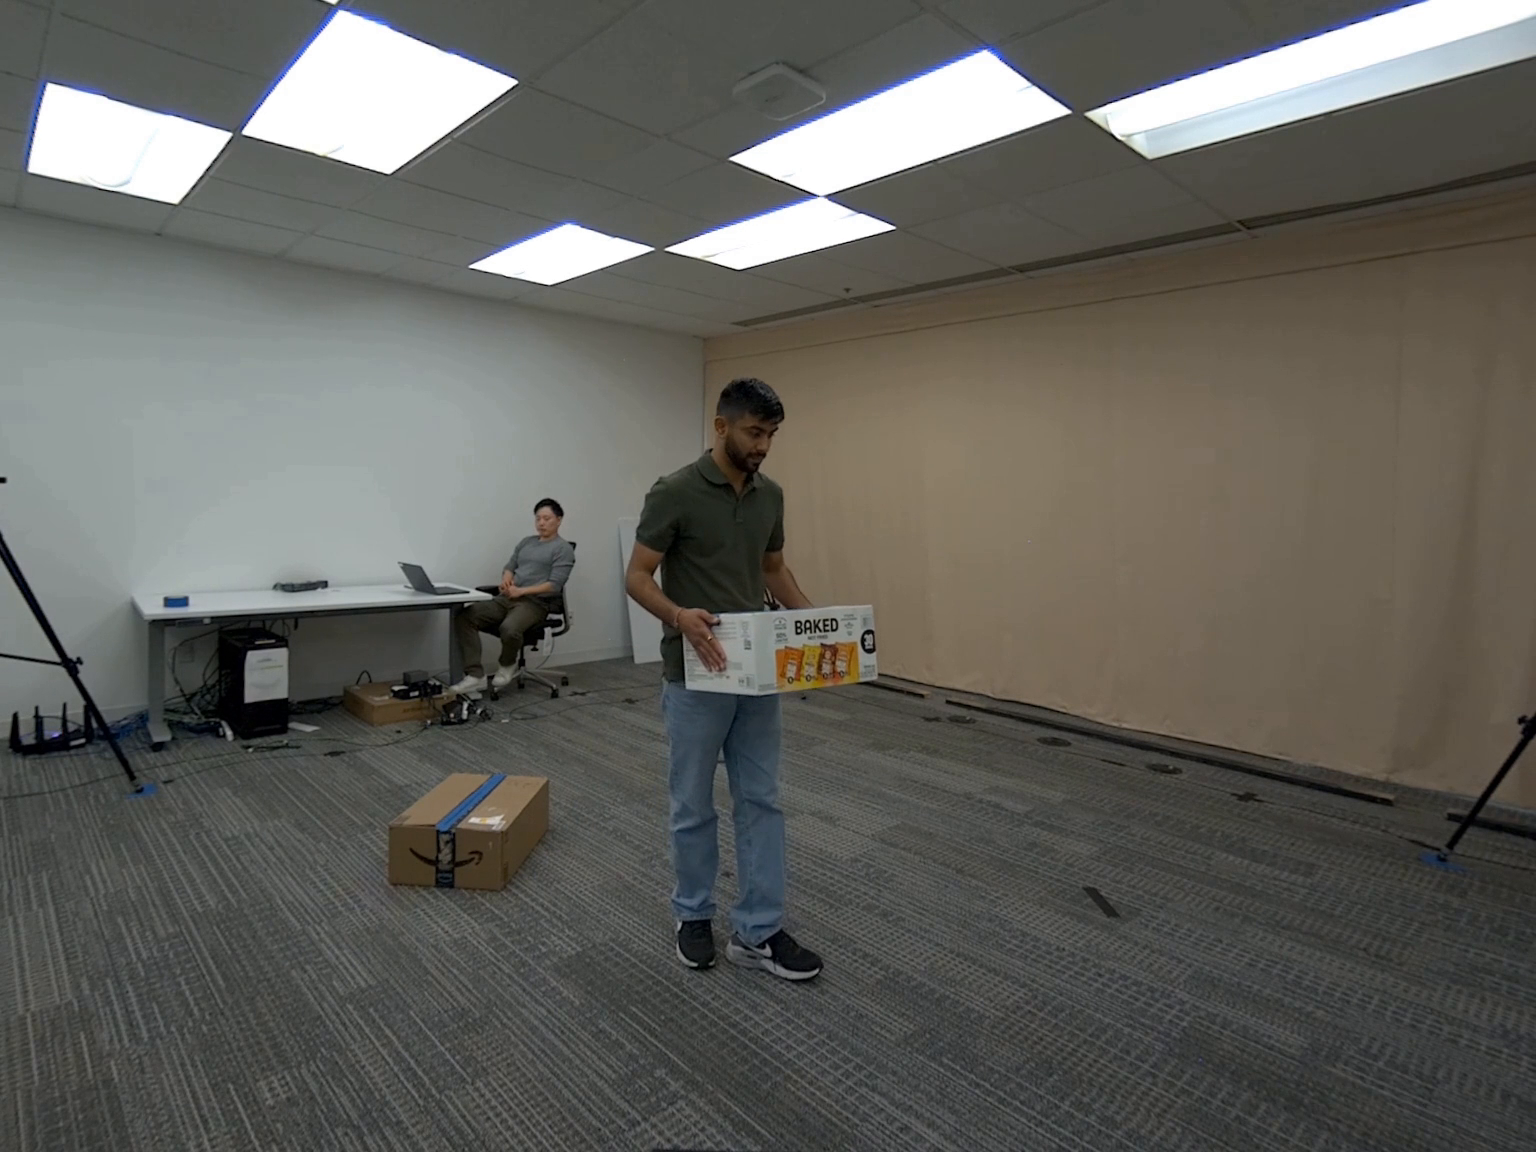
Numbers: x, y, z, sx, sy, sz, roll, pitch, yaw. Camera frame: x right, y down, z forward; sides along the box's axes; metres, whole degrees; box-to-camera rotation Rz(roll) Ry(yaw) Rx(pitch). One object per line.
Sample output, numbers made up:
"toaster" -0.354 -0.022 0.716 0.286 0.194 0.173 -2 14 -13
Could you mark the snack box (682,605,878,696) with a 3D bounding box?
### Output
"snack box" 0.022 0.194 2.278 0.396 0.206 0.347 -2 -3 -36
